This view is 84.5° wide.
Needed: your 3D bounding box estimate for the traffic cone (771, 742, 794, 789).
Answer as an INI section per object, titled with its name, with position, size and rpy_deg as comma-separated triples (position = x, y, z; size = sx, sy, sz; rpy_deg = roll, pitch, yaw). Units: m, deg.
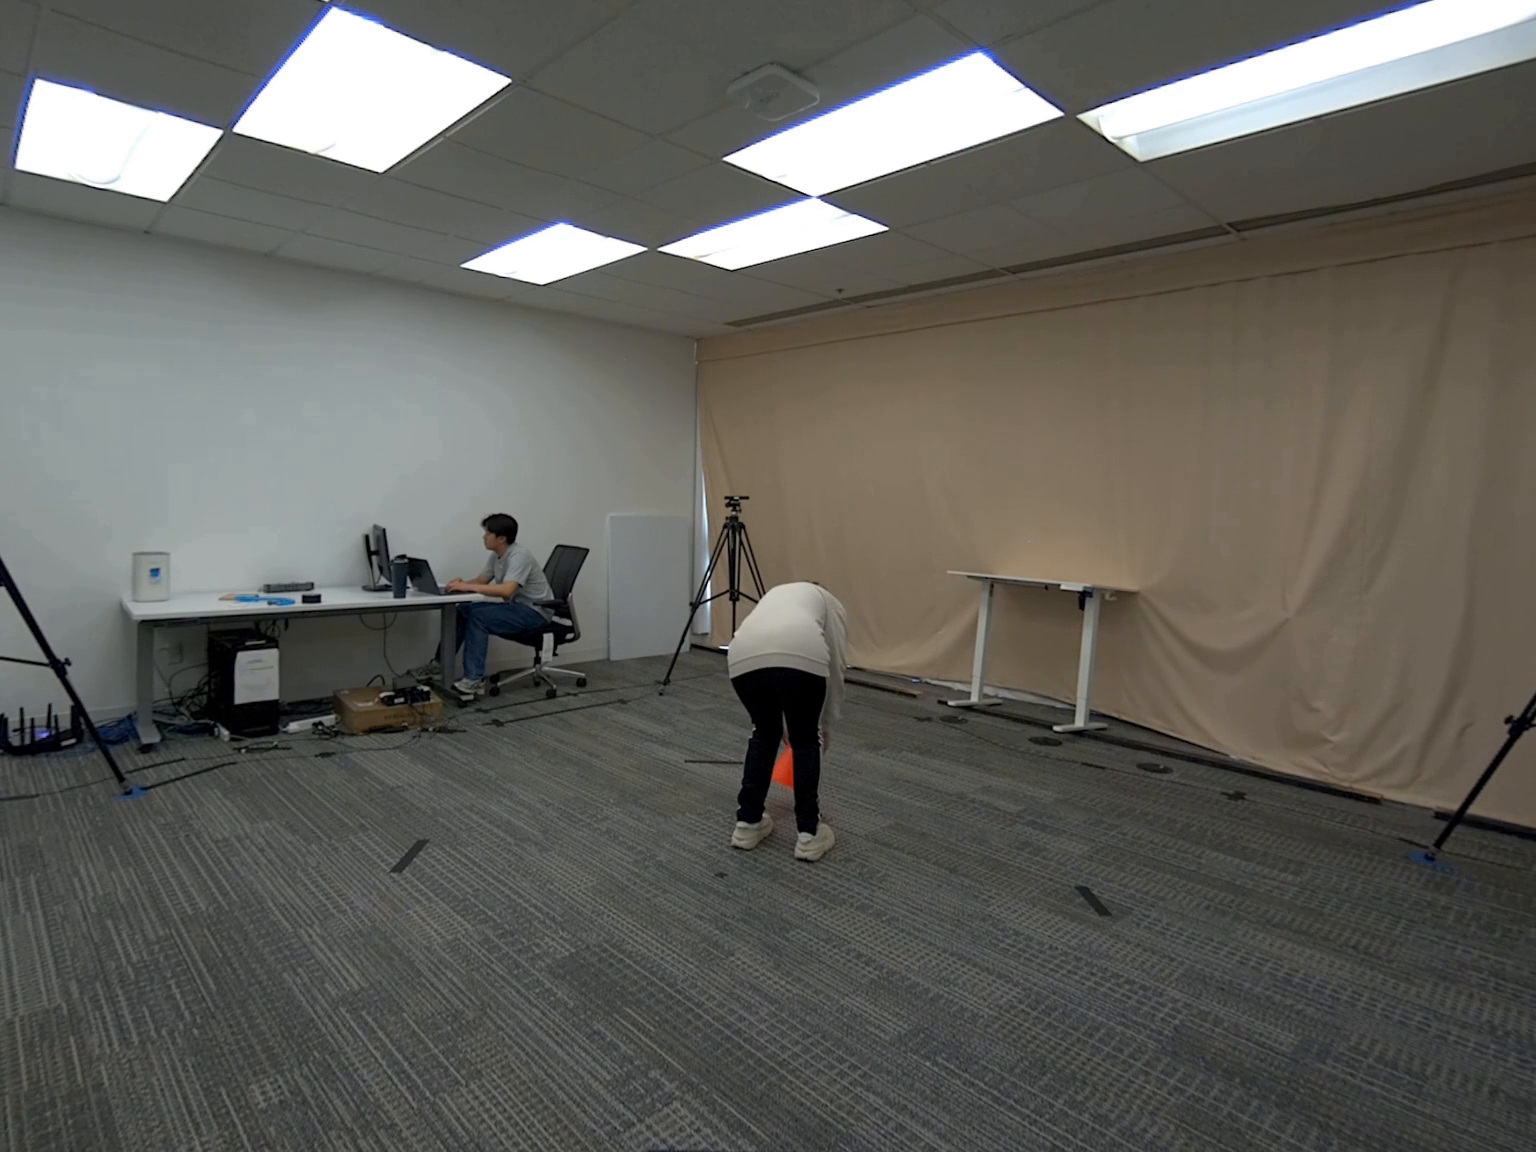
[traffic cone]
position = 0.137, 0.755, 3.775
size = 0.205, 0.384, 0.202
rpy_deg = 19, -4, 10
